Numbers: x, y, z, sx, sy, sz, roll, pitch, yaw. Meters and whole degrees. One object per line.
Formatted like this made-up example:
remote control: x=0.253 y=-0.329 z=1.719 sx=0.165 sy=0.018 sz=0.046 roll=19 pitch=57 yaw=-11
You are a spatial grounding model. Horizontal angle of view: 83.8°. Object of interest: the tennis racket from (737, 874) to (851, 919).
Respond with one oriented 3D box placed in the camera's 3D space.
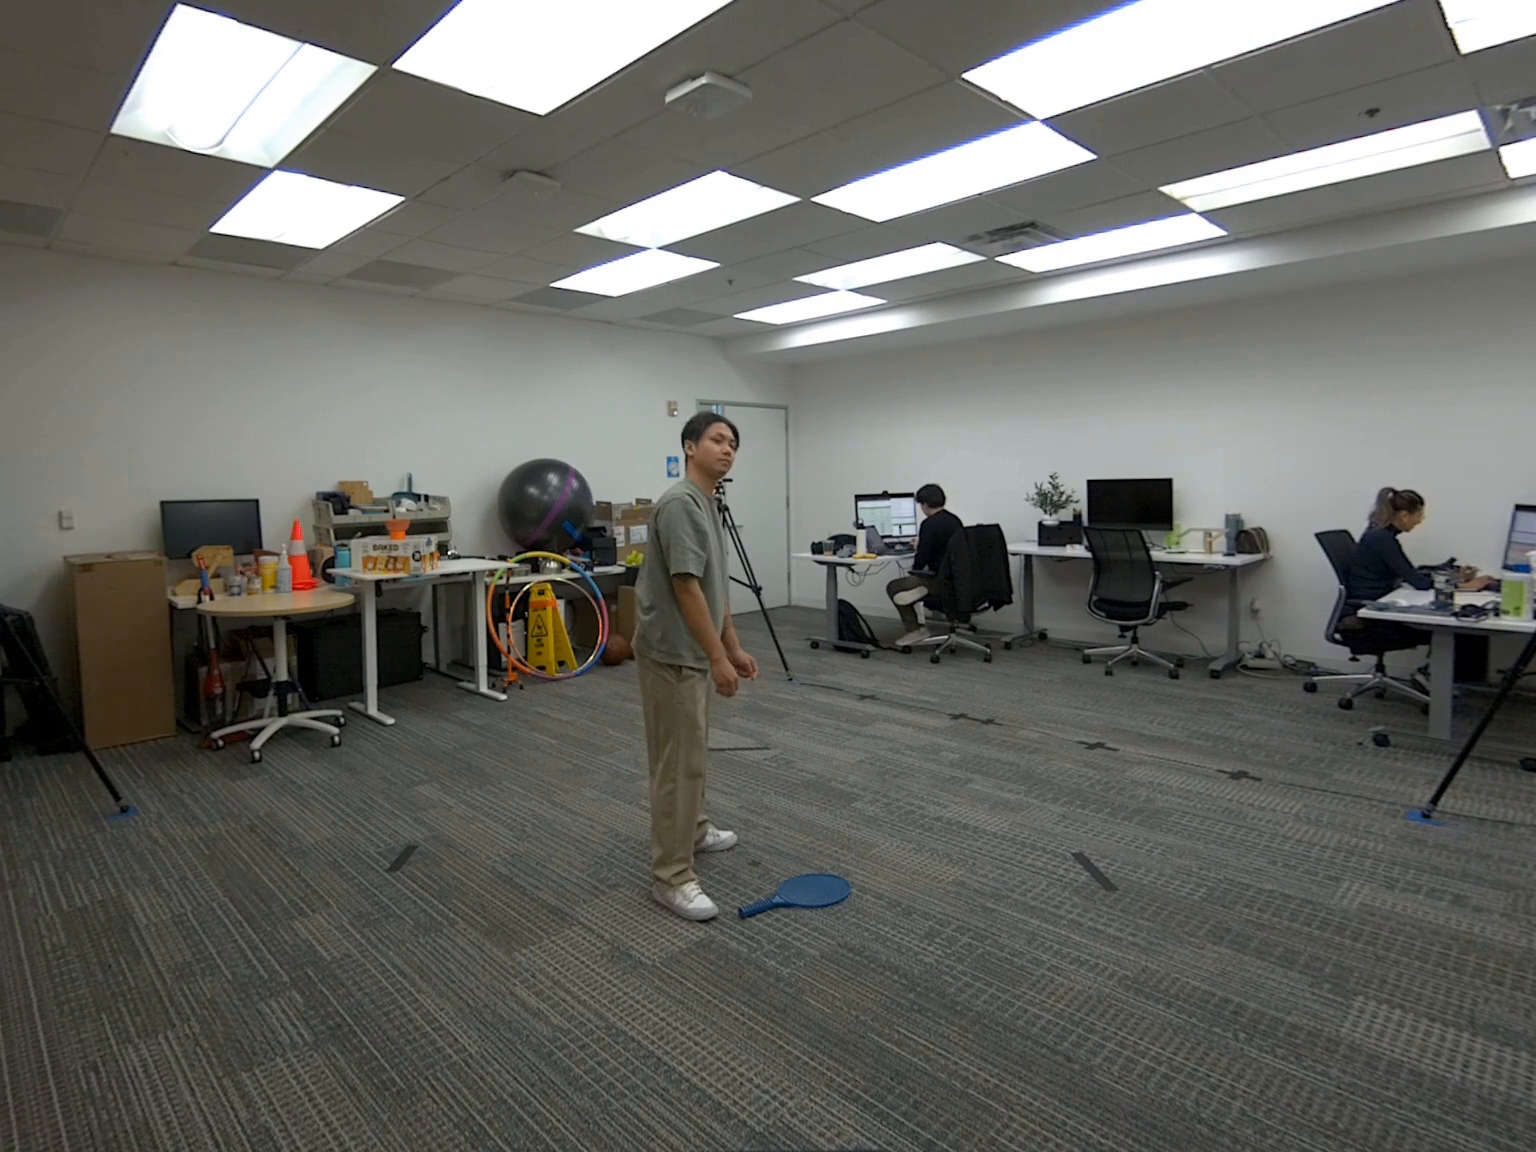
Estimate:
tennis racket: x=0.089 y=1.060 z=2.844 sx=0.422 sy=0.031 sz=0.220 roll=-4 pitch=7 yaw=-32
